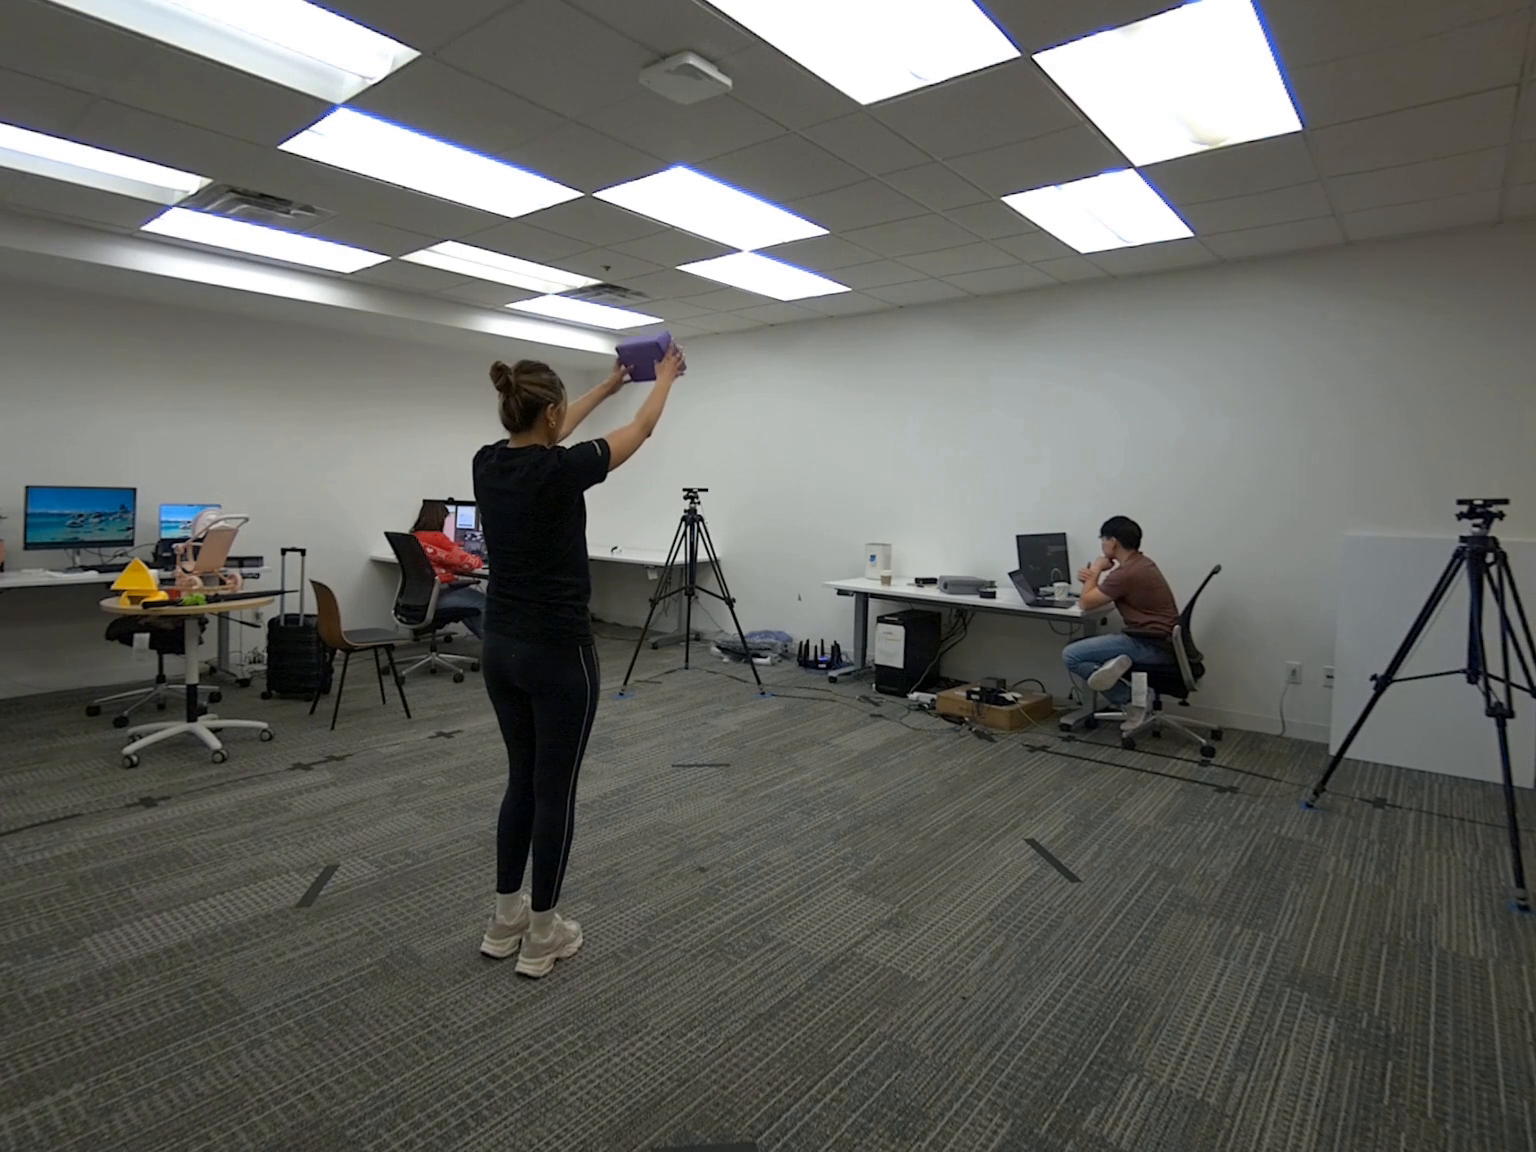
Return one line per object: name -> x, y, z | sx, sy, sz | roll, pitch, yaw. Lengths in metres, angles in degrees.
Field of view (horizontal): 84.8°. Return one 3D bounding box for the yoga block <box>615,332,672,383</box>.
yoga block -> -0.413, -0.732, 2.899 | 0.237, 0.144, 0.076 | 6, 43, 43
